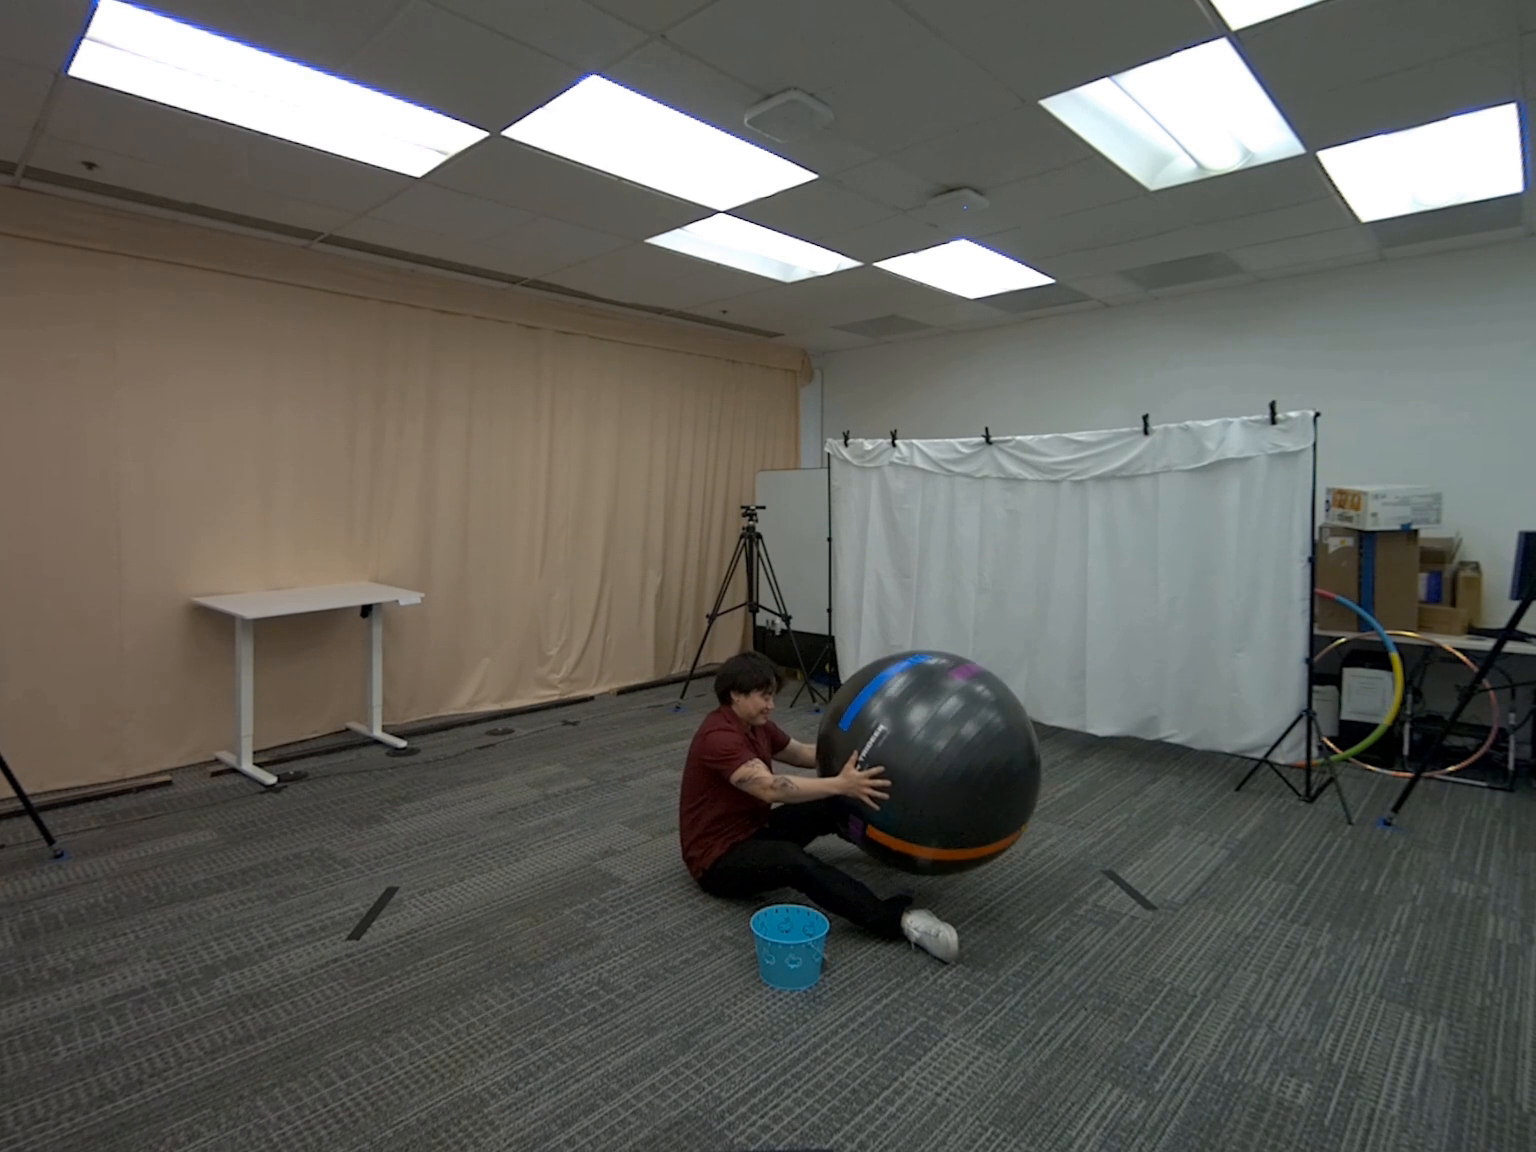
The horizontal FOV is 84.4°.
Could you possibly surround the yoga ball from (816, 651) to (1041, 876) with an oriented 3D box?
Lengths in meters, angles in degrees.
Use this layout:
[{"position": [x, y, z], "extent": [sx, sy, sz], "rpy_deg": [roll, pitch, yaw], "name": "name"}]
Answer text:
[{"position": [0.556, 0.641, 2.940], "extent": [0.757, 0.756, 0.760], "rpy_deg": [0, 4, -2], "name": "yoga ball"}]
